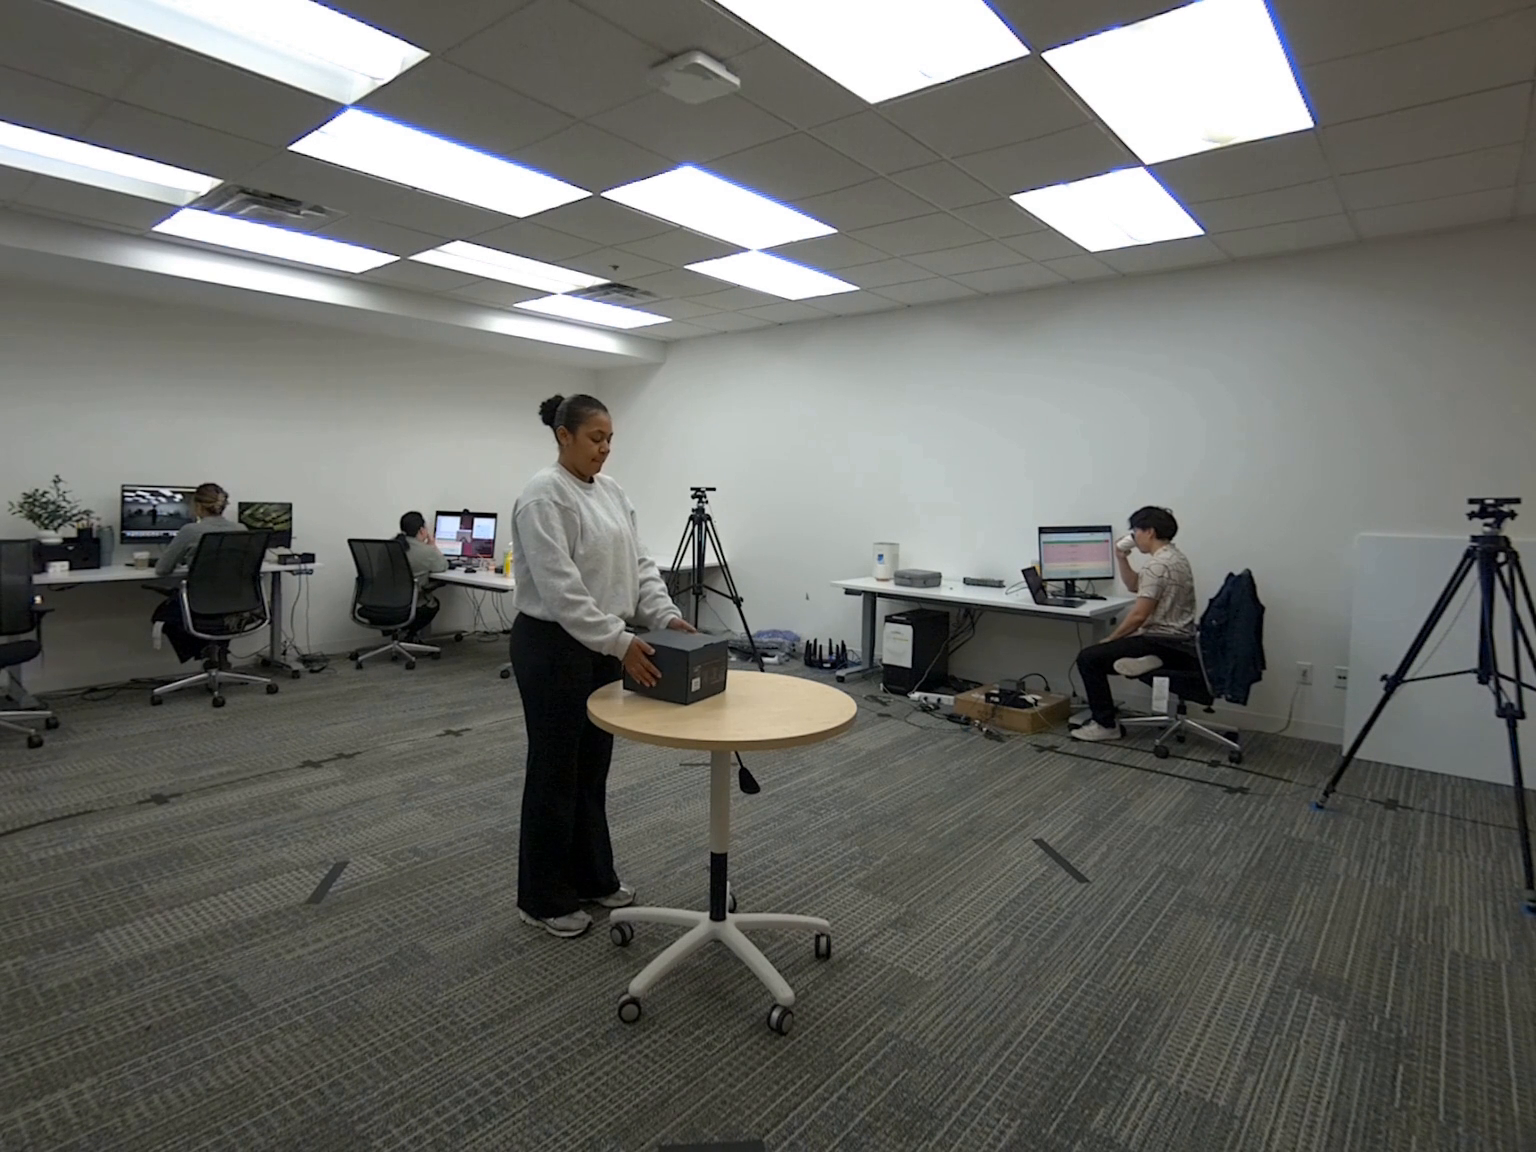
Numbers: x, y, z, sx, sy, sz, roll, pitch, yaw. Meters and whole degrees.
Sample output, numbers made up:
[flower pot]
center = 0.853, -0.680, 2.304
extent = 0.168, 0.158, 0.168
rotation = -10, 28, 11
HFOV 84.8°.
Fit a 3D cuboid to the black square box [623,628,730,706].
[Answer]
[black square box]
center = -0.270, 0.252, 2.501
extent = 0.235, 0.155, 0.212
rotation = 6, 7, 29
